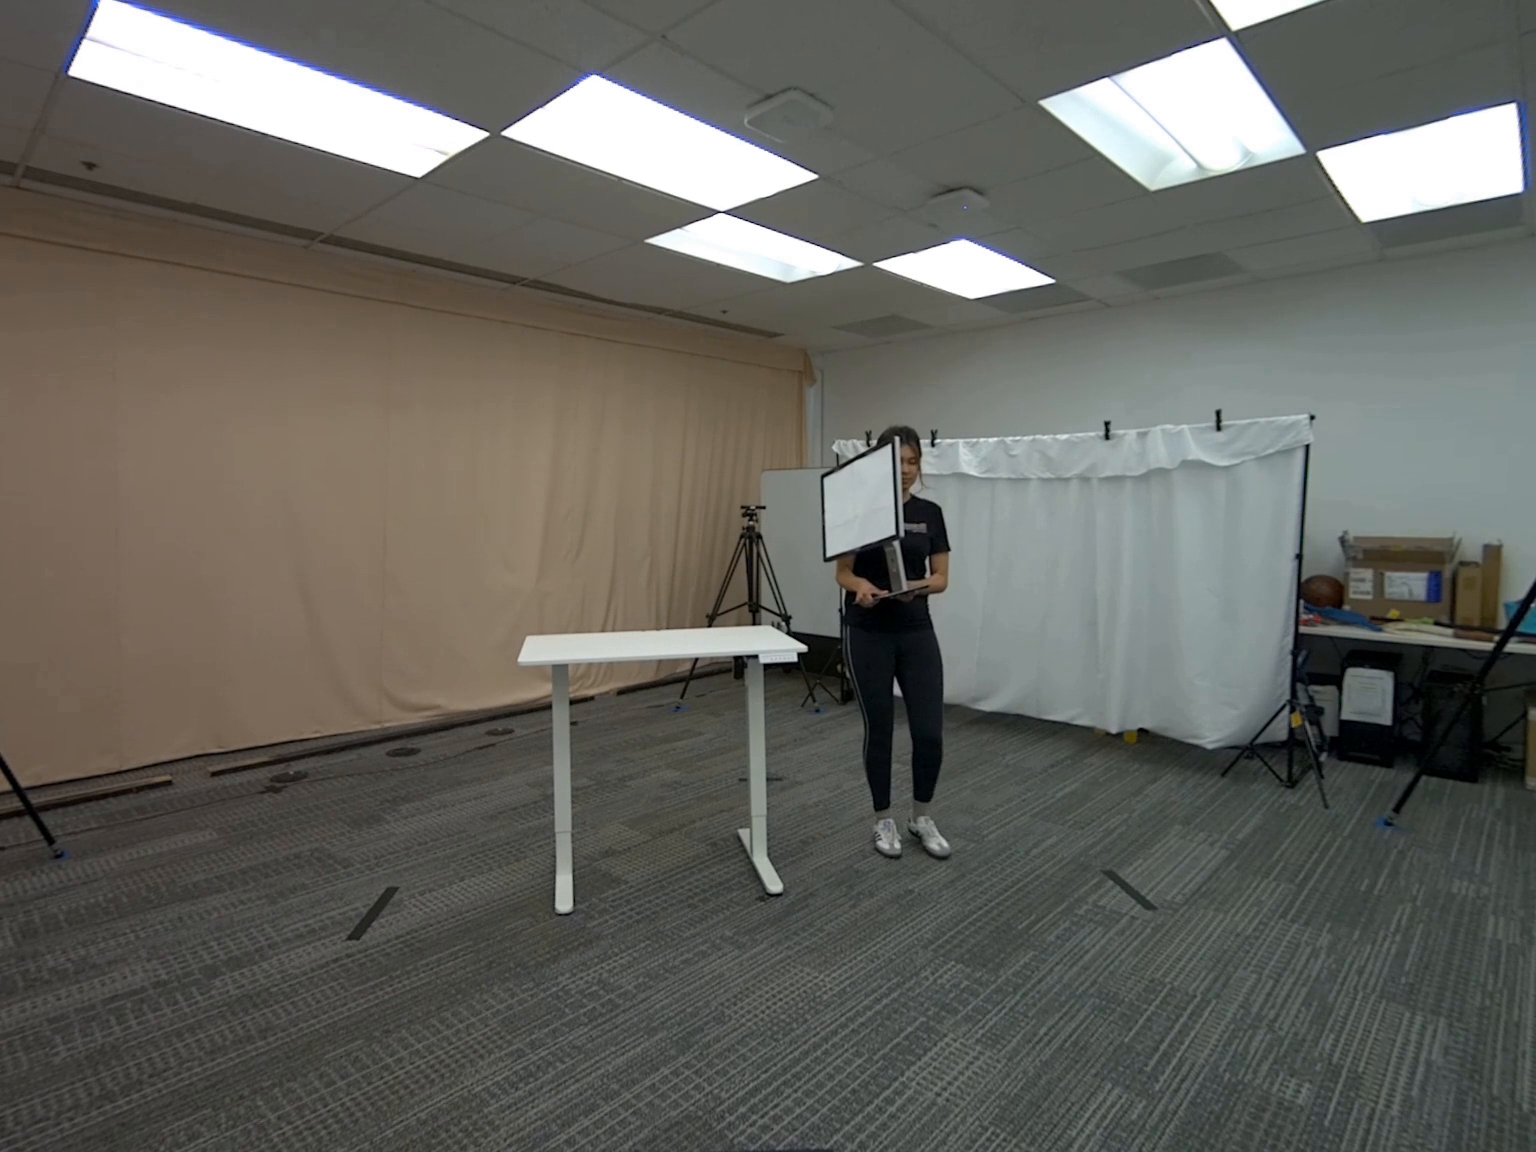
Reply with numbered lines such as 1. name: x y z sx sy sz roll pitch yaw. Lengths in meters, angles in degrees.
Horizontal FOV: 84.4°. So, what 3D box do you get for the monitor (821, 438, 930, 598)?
1. monitor: 0.397 -0.189 3.166 0.183 0.525 0.549 -9 -5 -26
